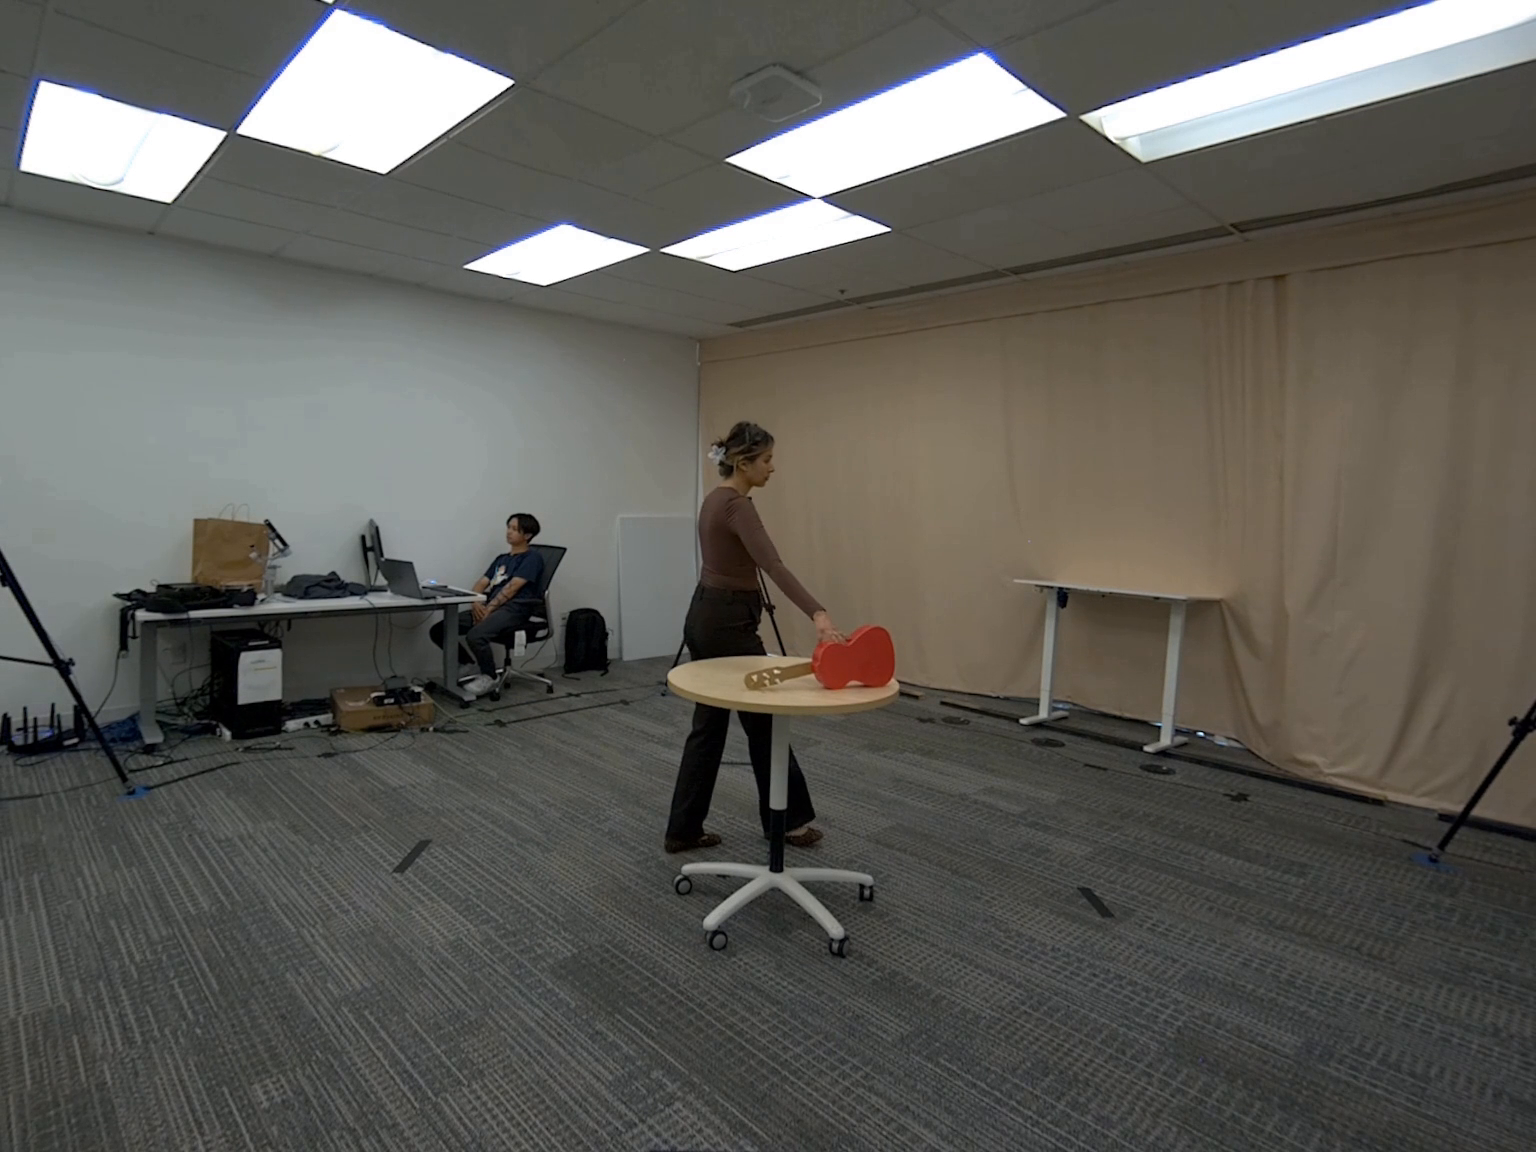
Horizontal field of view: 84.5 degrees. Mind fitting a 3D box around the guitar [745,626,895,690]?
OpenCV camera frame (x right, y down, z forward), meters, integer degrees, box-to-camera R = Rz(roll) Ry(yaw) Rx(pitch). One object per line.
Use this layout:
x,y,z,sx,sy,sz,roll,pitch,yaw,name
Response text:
0.172,0.317,2.667,0.493,0.191,0.072,-19,9,-18,guitar
